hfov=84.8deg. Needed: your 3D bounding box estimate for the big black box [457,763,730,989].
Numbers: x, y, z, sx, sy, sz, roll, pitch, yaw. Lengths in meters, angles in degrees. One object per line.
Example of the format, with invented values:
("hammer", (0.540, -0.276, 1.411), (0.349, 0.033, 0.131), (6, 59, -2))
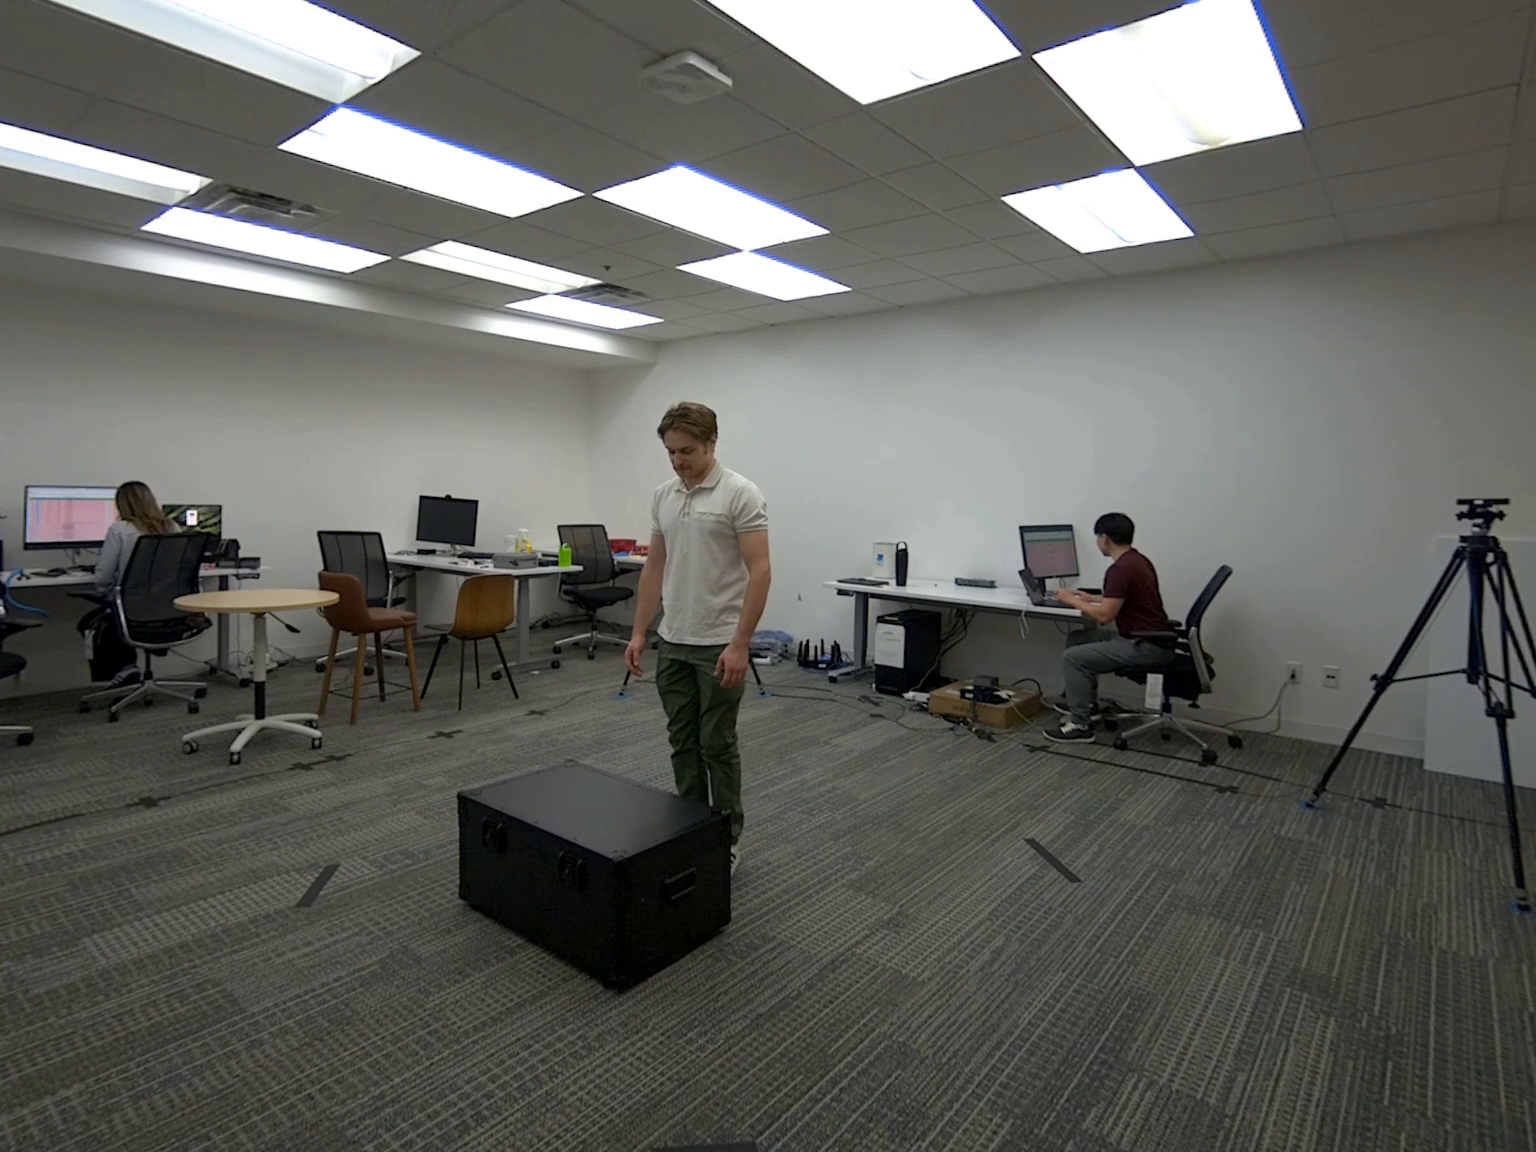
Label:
("big black box", (-0.603, 0.902, 2.761), (0.898, 0.383, 0.508), (5, 7, 39))
